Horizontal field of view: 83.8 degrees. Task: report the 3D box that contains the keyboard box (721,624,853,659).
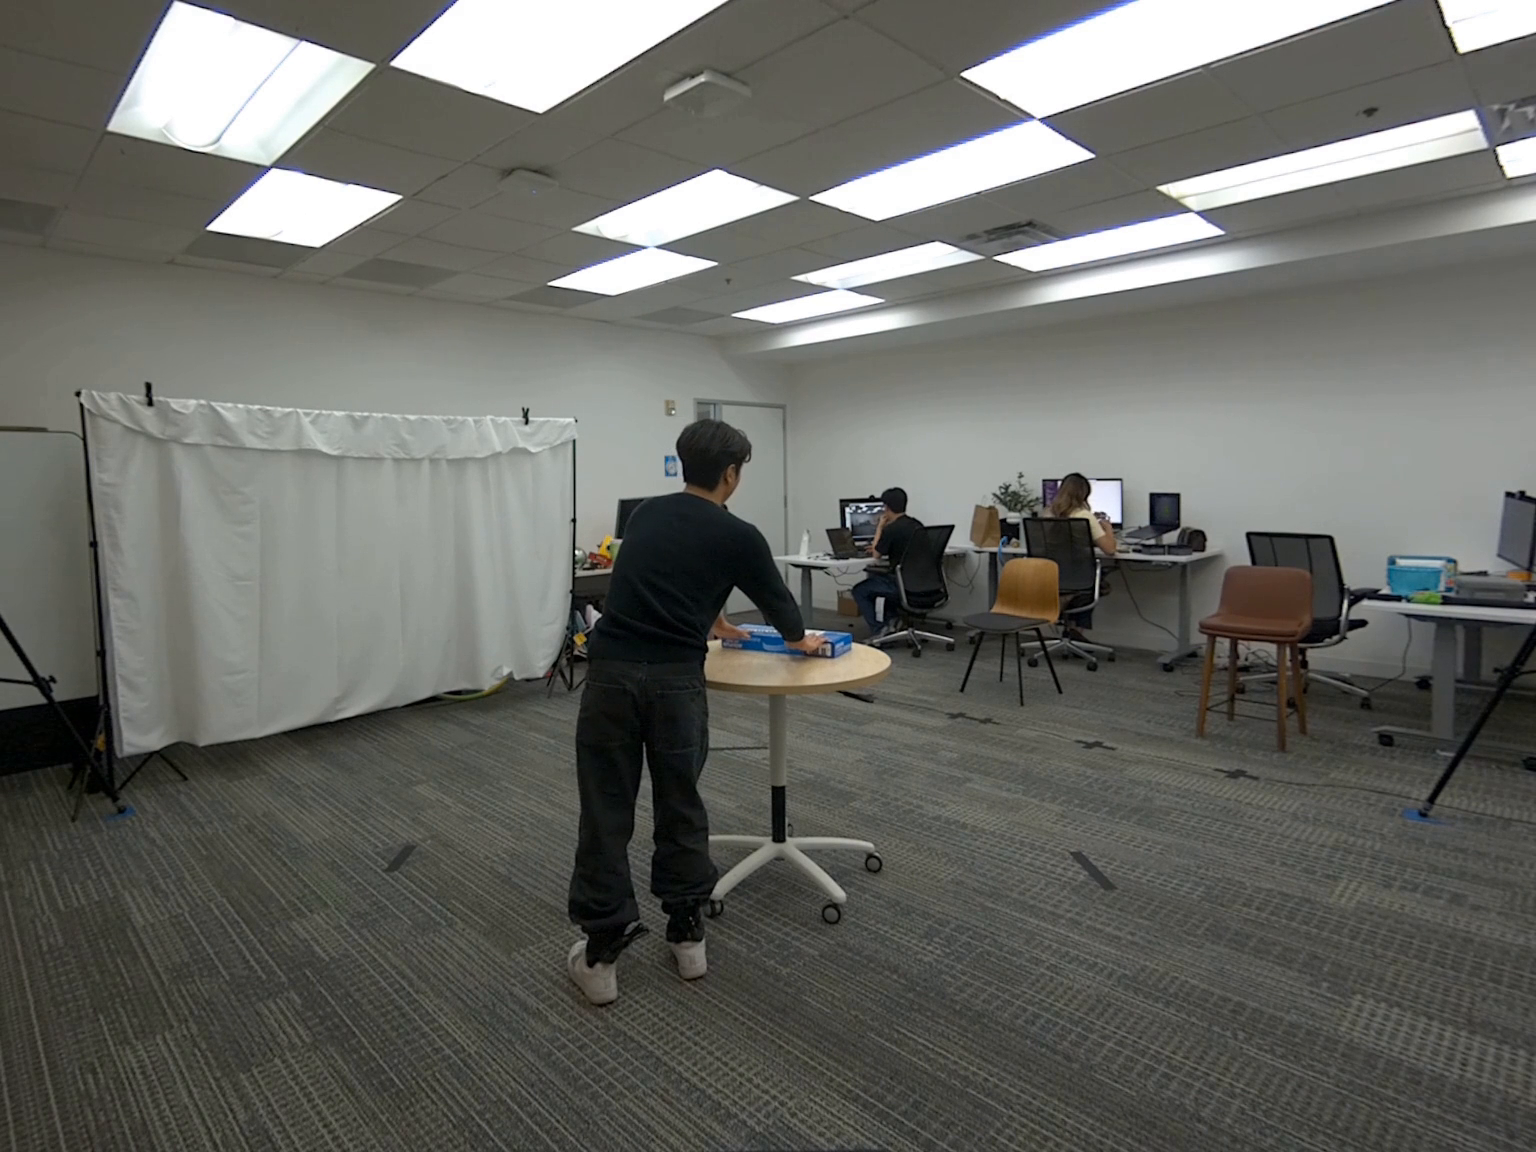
[{"bbox_3d":[0.070,0.233,3.065,0.448,0.059,0.172,3,8,28],"label":"keyboard box"}]
